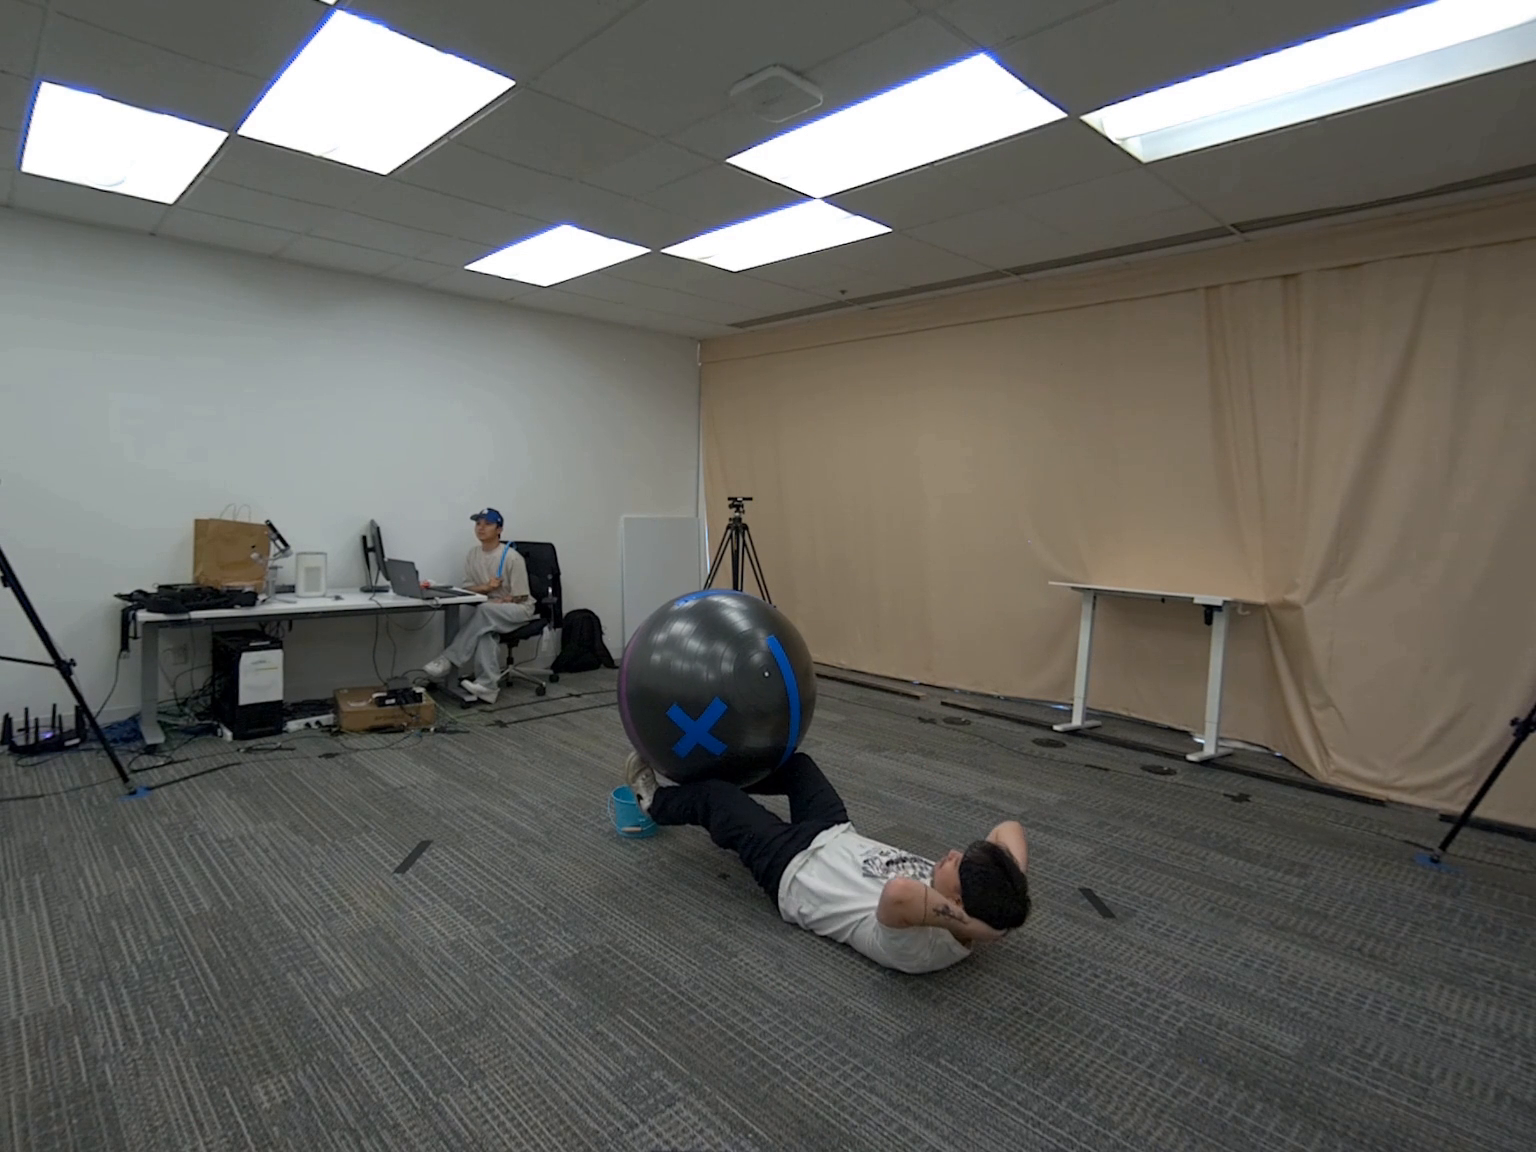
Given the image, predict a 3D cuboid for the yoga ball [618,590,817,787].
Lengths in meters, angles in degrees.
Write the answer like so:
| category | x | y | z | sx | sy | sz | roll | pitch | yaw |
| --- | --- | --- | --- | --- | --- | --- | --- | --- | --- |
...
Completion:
| category | x | y | z | sx | sy | sz | roll | pitch | yaw |
| --- | --- | --- | --- | --- | --- | --- | --- | --- | --- |
| yoga ball | -0.200 | 0.426 | 3.215 | 0.757 | 0.756 | 0.760 | 1 | 4 | -1 |
